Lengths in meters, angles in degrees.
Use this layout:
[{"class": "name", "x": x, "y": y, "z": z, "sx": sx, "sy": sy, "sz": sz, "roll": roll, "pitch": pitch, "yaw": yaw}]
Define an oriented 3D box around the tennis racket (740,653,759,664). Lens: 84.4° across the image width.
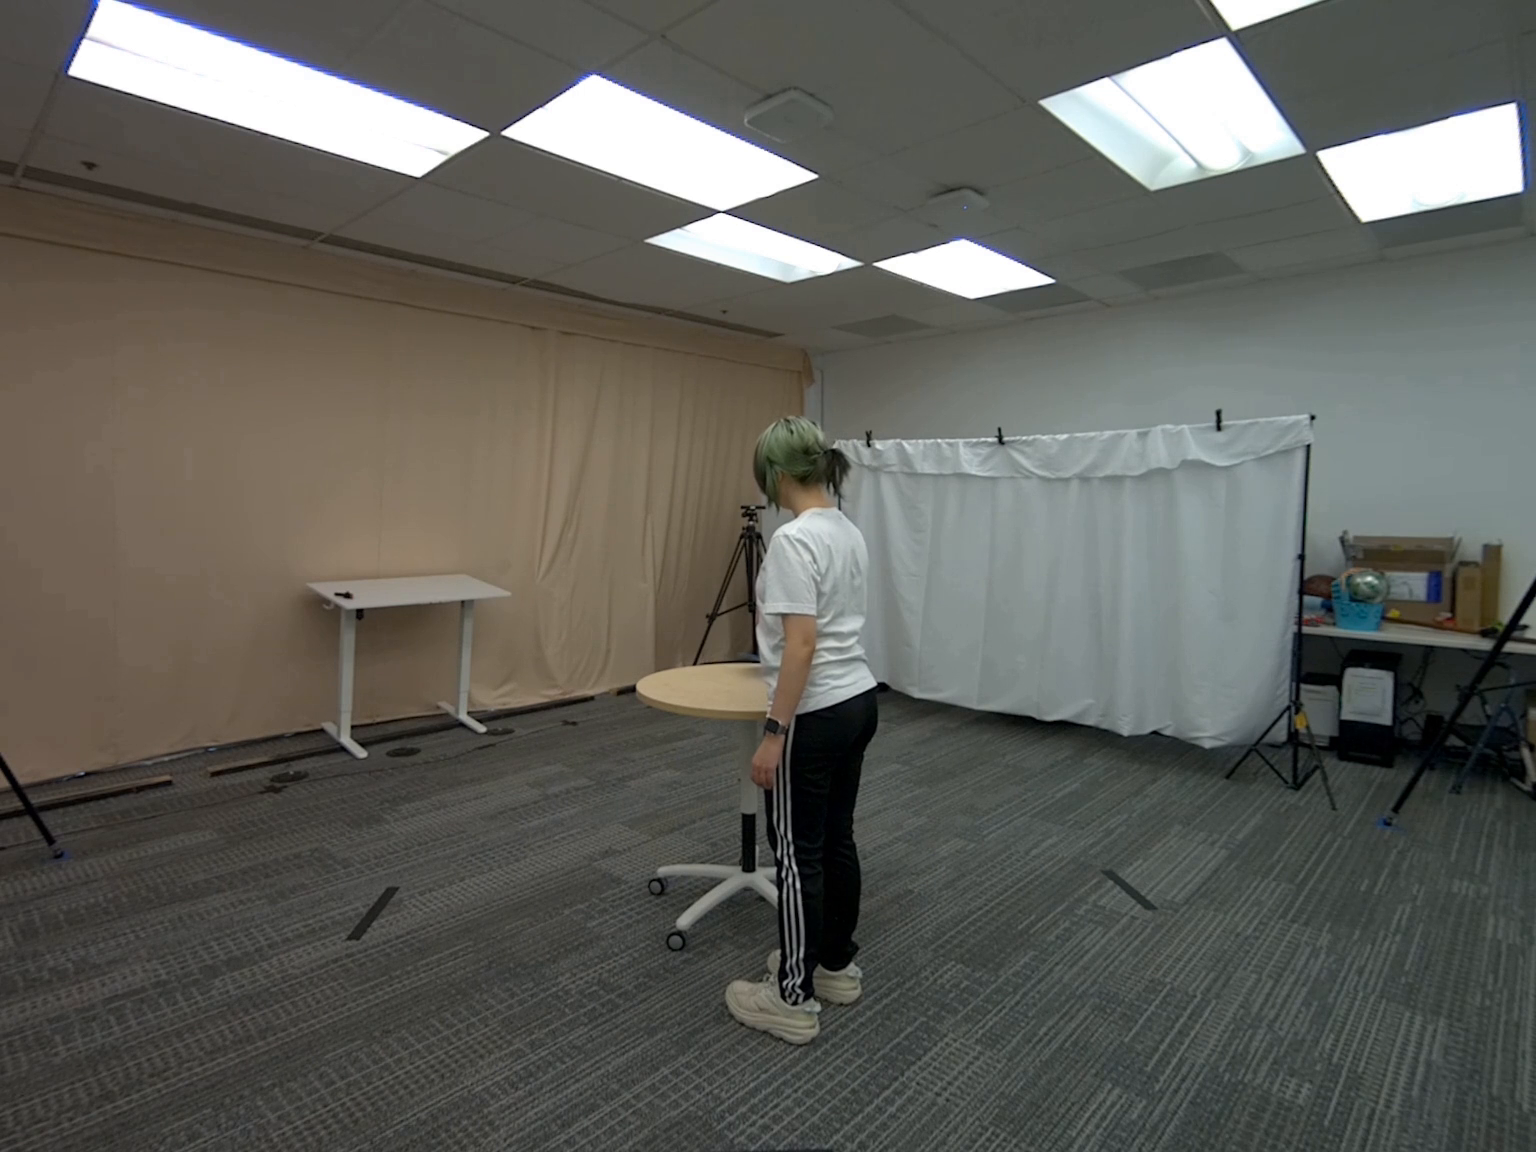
[{"class": "tennis racket", "x": 0.055, "y": 0.317, "z": 2.970, "sx": 0.208, "sy": 0.032, "sz": 0.443, "roll": 13, "pitch": -5, "yaw": -24}]
